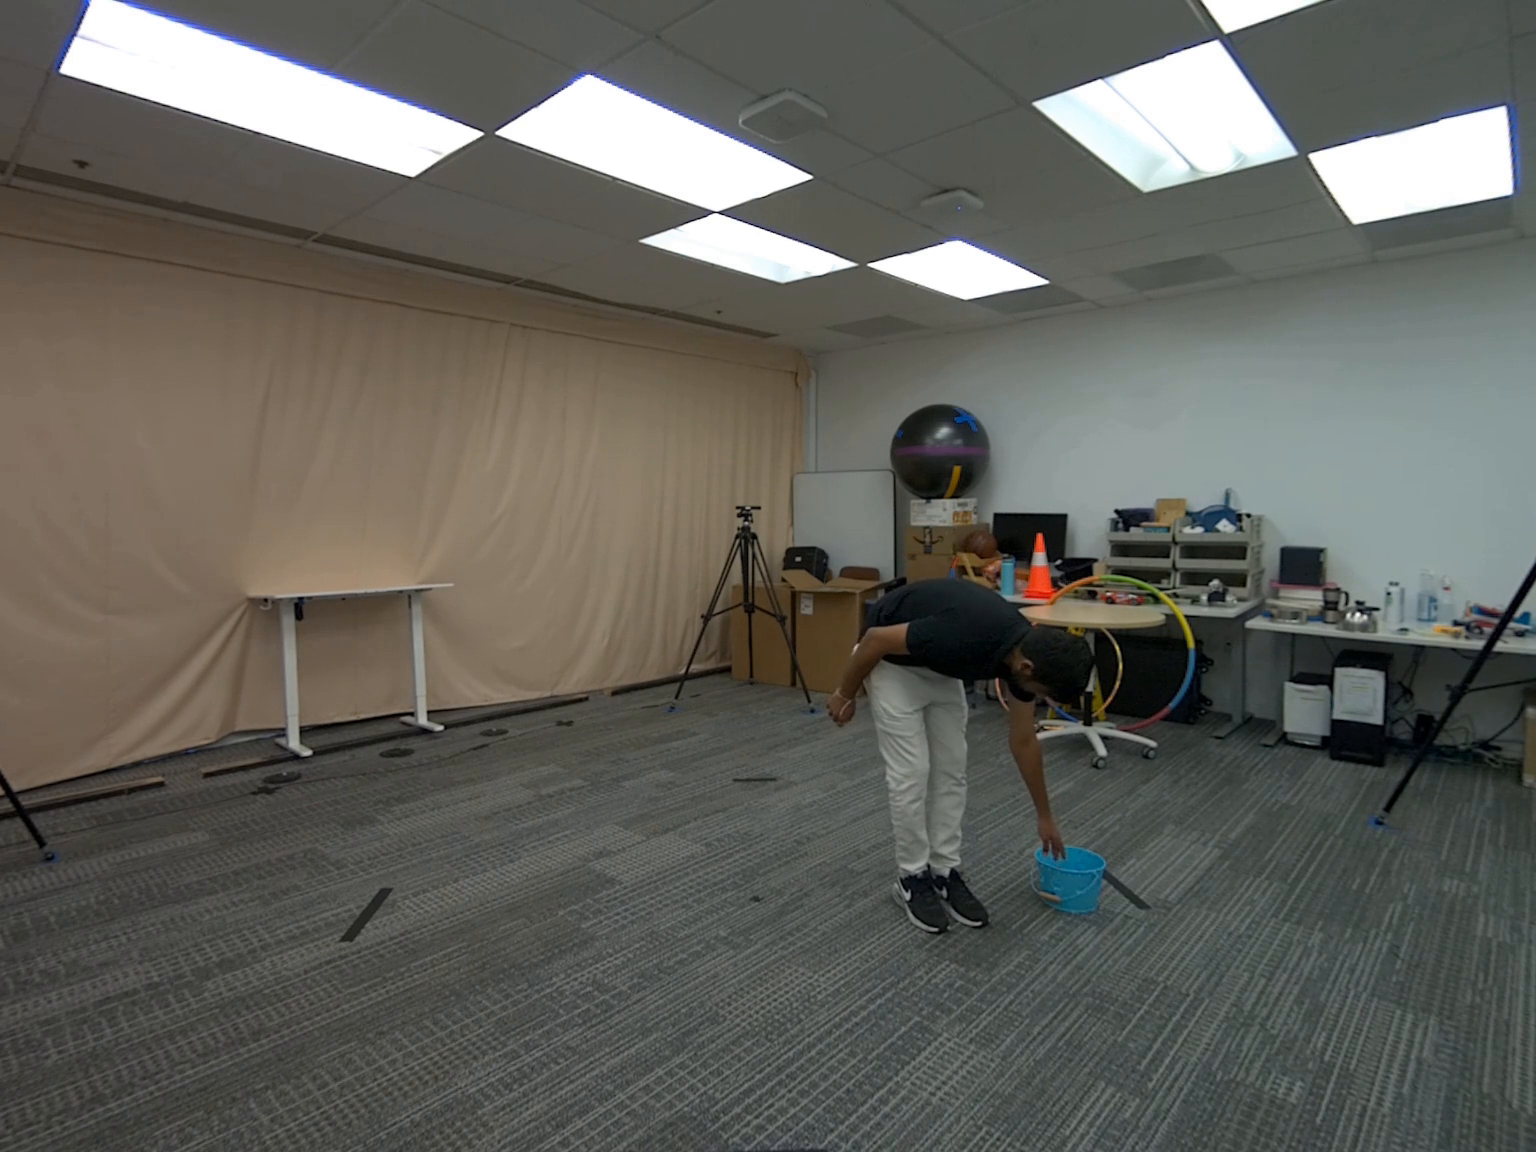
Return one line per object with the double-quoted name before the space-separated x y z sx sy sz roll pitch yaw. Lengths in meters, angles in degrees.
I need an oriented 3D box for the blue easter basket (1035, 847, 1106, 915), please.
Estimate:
"blue easter basket" 1.066 1.070 2.963 0.243 0.155 0.244 0 3 -2
